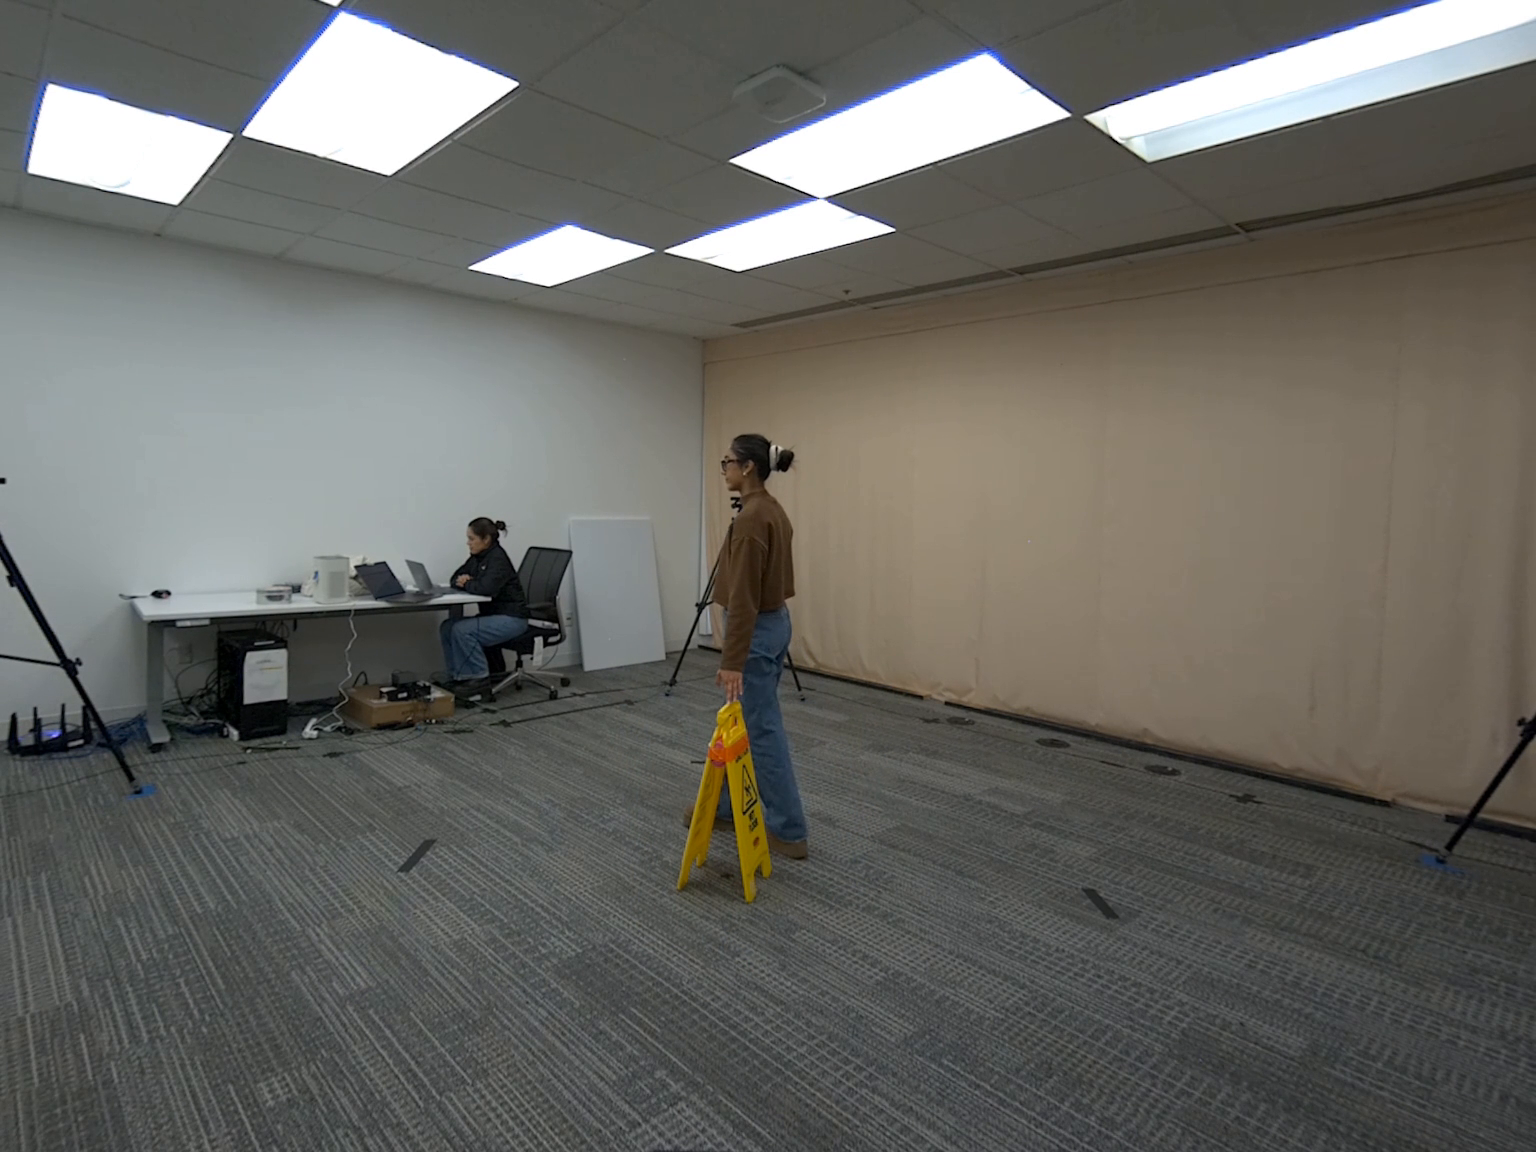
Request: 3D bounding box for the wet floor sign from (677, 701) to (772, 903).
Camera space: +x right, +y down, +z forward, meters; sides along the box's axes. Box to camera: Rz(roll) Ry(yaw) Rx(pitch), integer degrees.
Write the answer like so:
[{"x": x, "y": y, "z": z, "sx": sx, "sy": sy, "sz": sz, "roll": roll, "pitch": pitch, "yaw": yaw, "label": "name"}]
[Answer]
[{"x": -0.155, "y": 0.789, "z": 3.043, "sx": 0.294, "sy": 0.644, "sz": 0.279, "roll": 3, "pitch": 4, "yaw": 17, "label": "wet floor sign"}]
